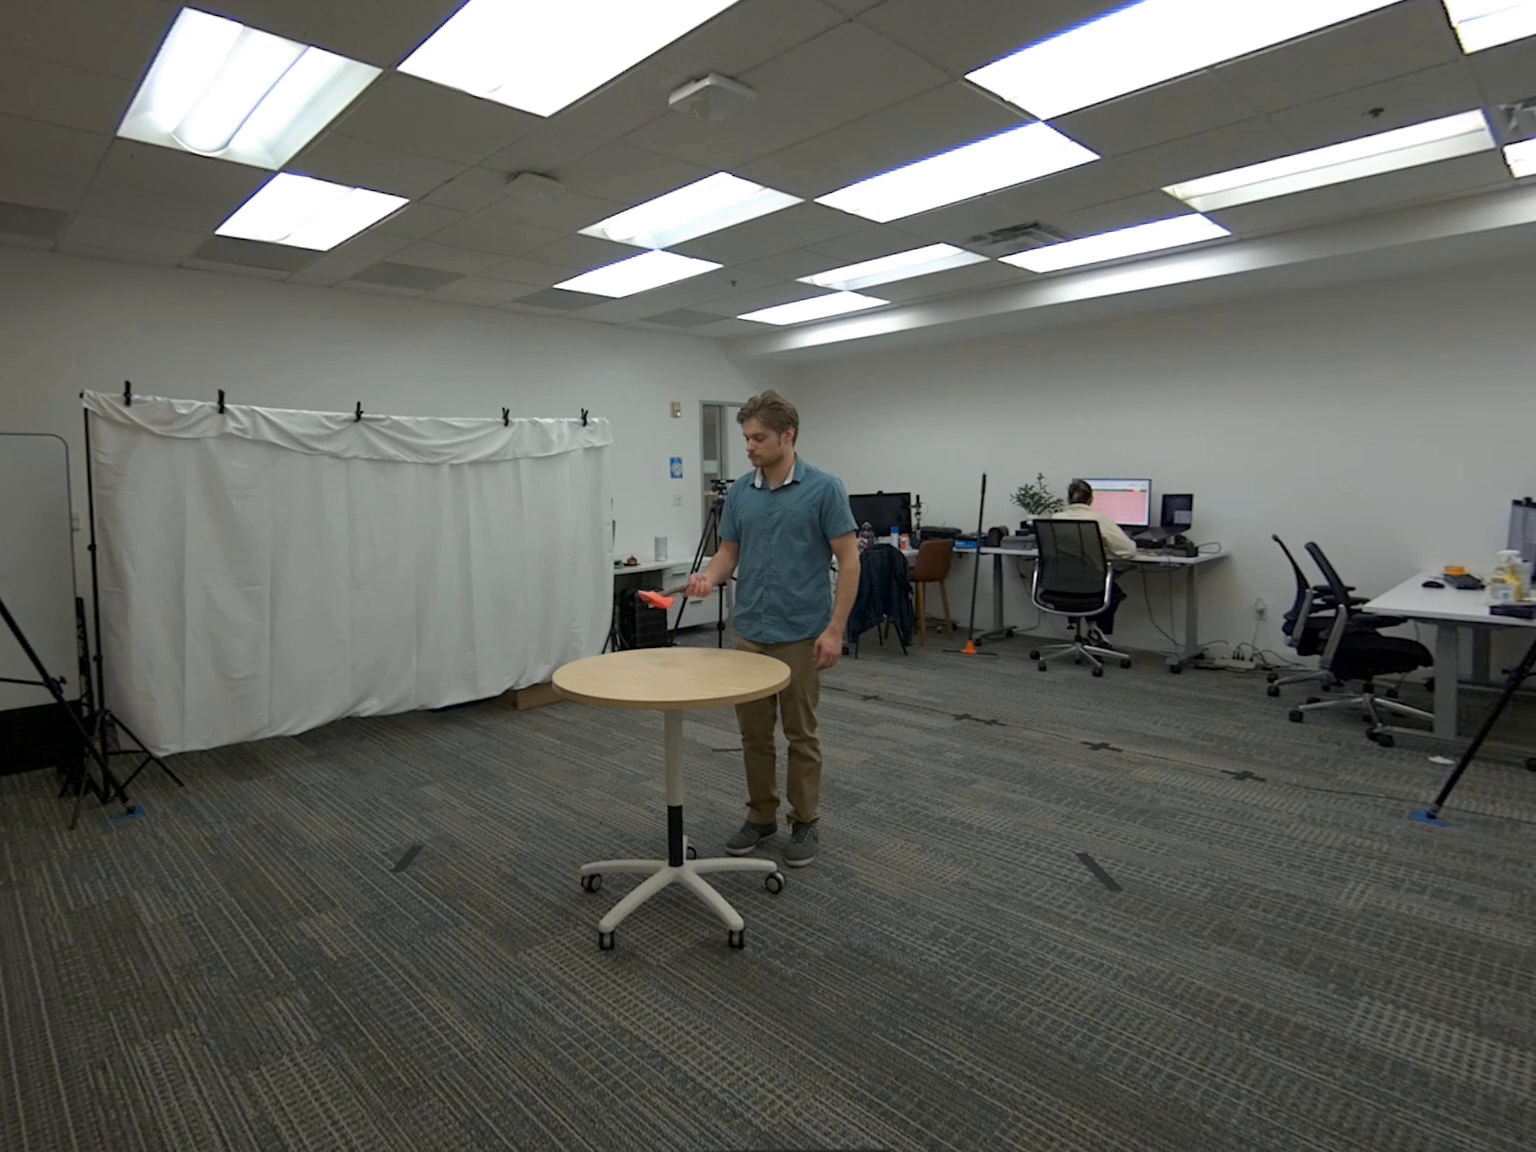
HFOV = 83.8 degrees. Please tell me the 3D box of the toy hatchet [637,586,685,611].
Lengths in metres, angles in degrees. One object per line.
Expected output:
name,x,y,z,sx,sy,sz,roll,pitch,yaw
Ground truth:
toy hatchet,-0.291,0.058,2.901,0.264,0.029,0.136,-8,26,-31
